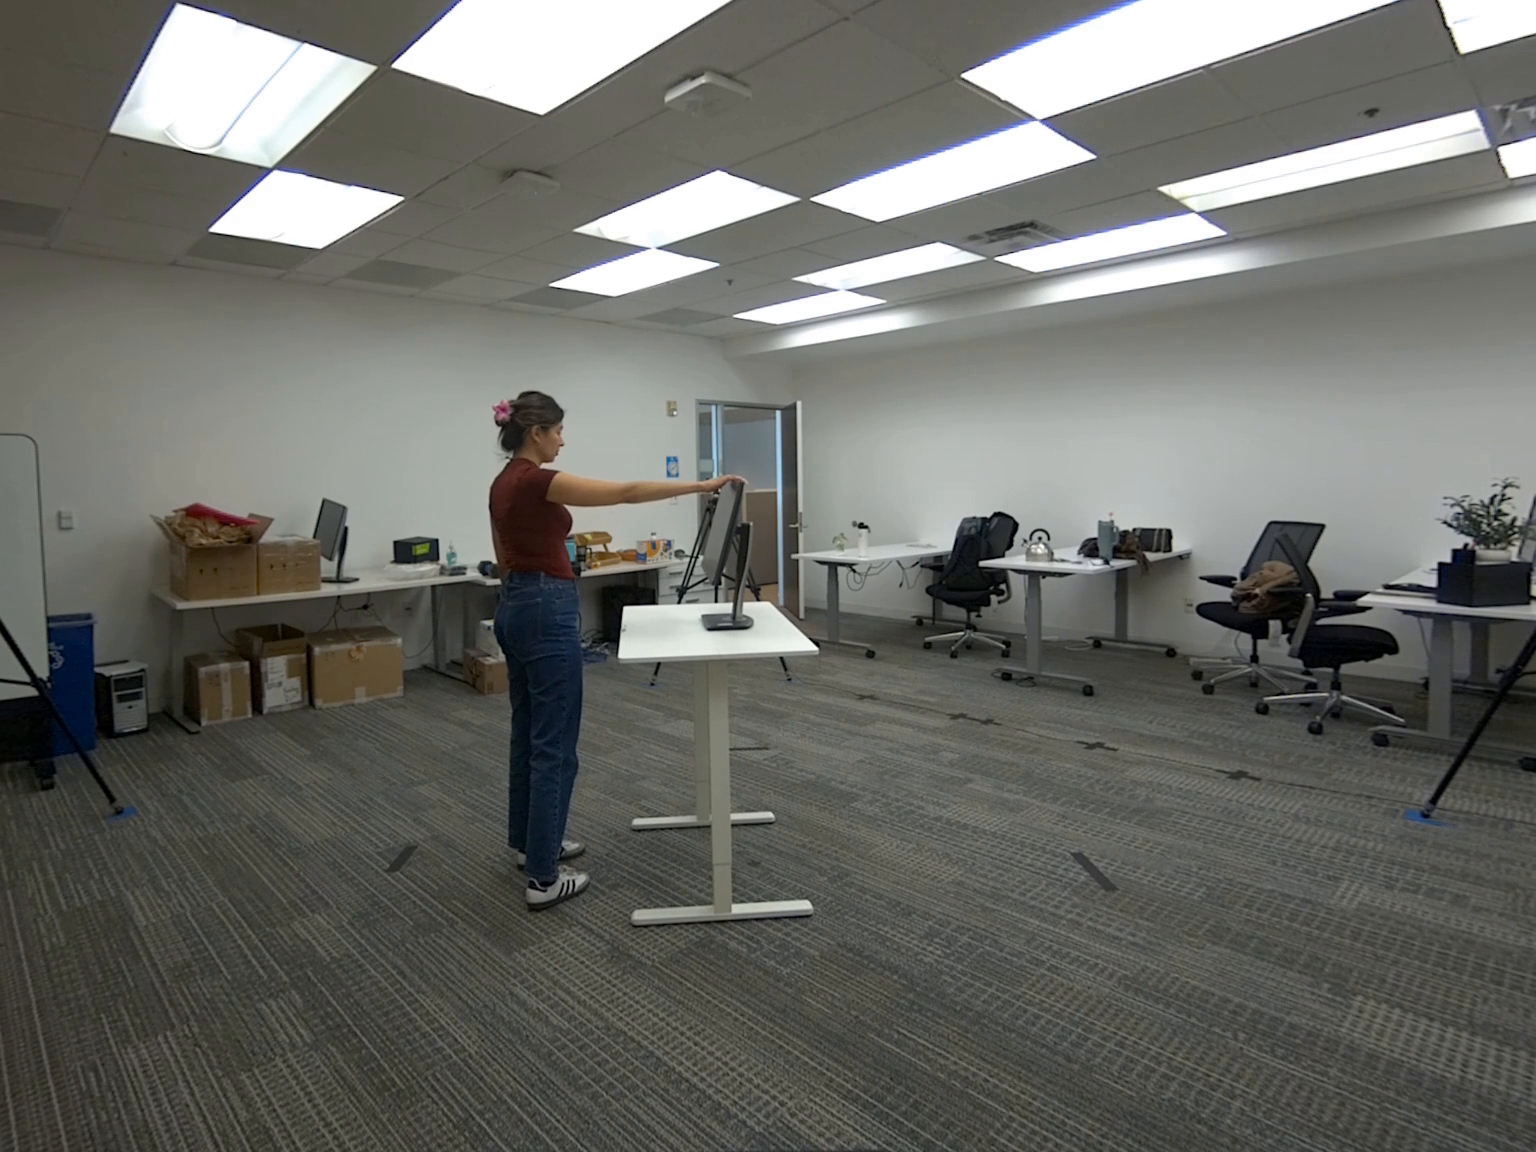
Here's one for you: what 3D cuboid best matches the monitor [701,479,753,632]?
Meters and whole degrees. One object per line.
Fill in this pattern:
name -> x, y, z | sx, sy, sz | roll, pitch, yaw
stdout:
monitor -> -0.138, -0.082, 3.044 | 0.185, 0.520, 0.547 | 1, 6, -11
